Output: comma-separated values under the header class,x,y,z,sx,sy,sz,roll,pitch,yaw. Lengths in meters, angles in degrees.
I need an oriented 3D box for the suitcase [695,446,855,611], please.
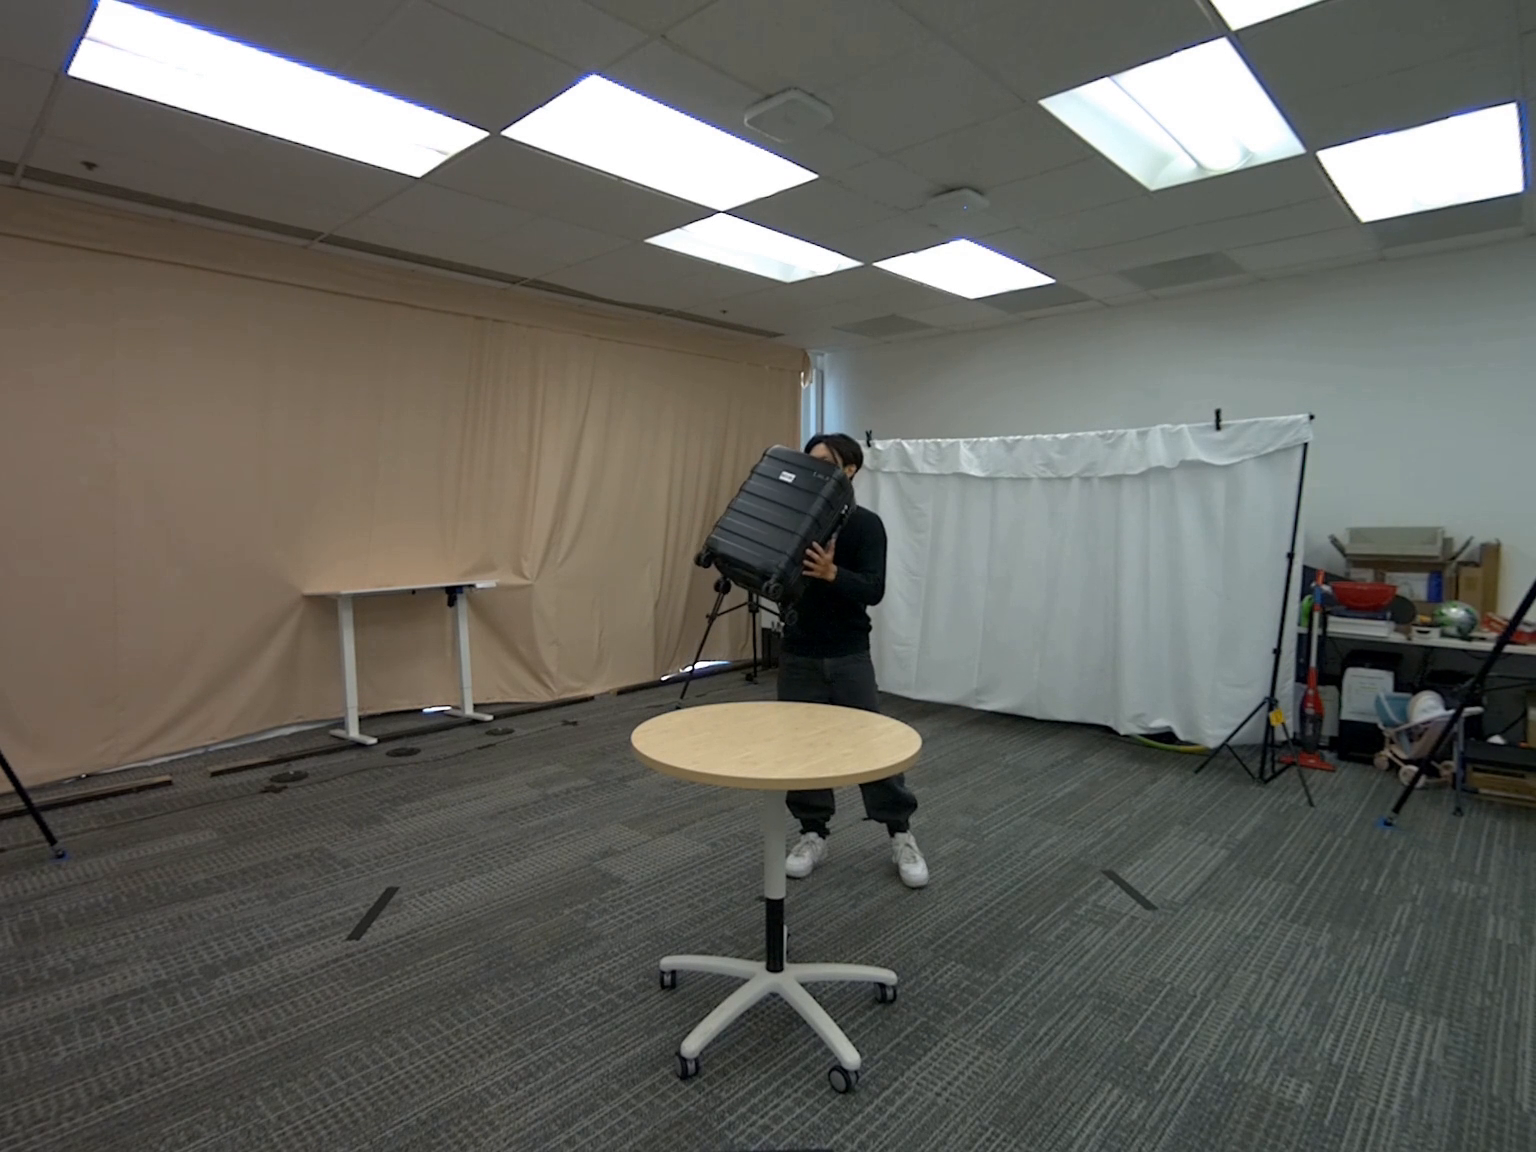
class,x,y,z,sx,sy,sz,roll,pitch,yaw
suitcase,0.061,-0.171,2.965,0.388,0.549,0.240,24,-17,31
